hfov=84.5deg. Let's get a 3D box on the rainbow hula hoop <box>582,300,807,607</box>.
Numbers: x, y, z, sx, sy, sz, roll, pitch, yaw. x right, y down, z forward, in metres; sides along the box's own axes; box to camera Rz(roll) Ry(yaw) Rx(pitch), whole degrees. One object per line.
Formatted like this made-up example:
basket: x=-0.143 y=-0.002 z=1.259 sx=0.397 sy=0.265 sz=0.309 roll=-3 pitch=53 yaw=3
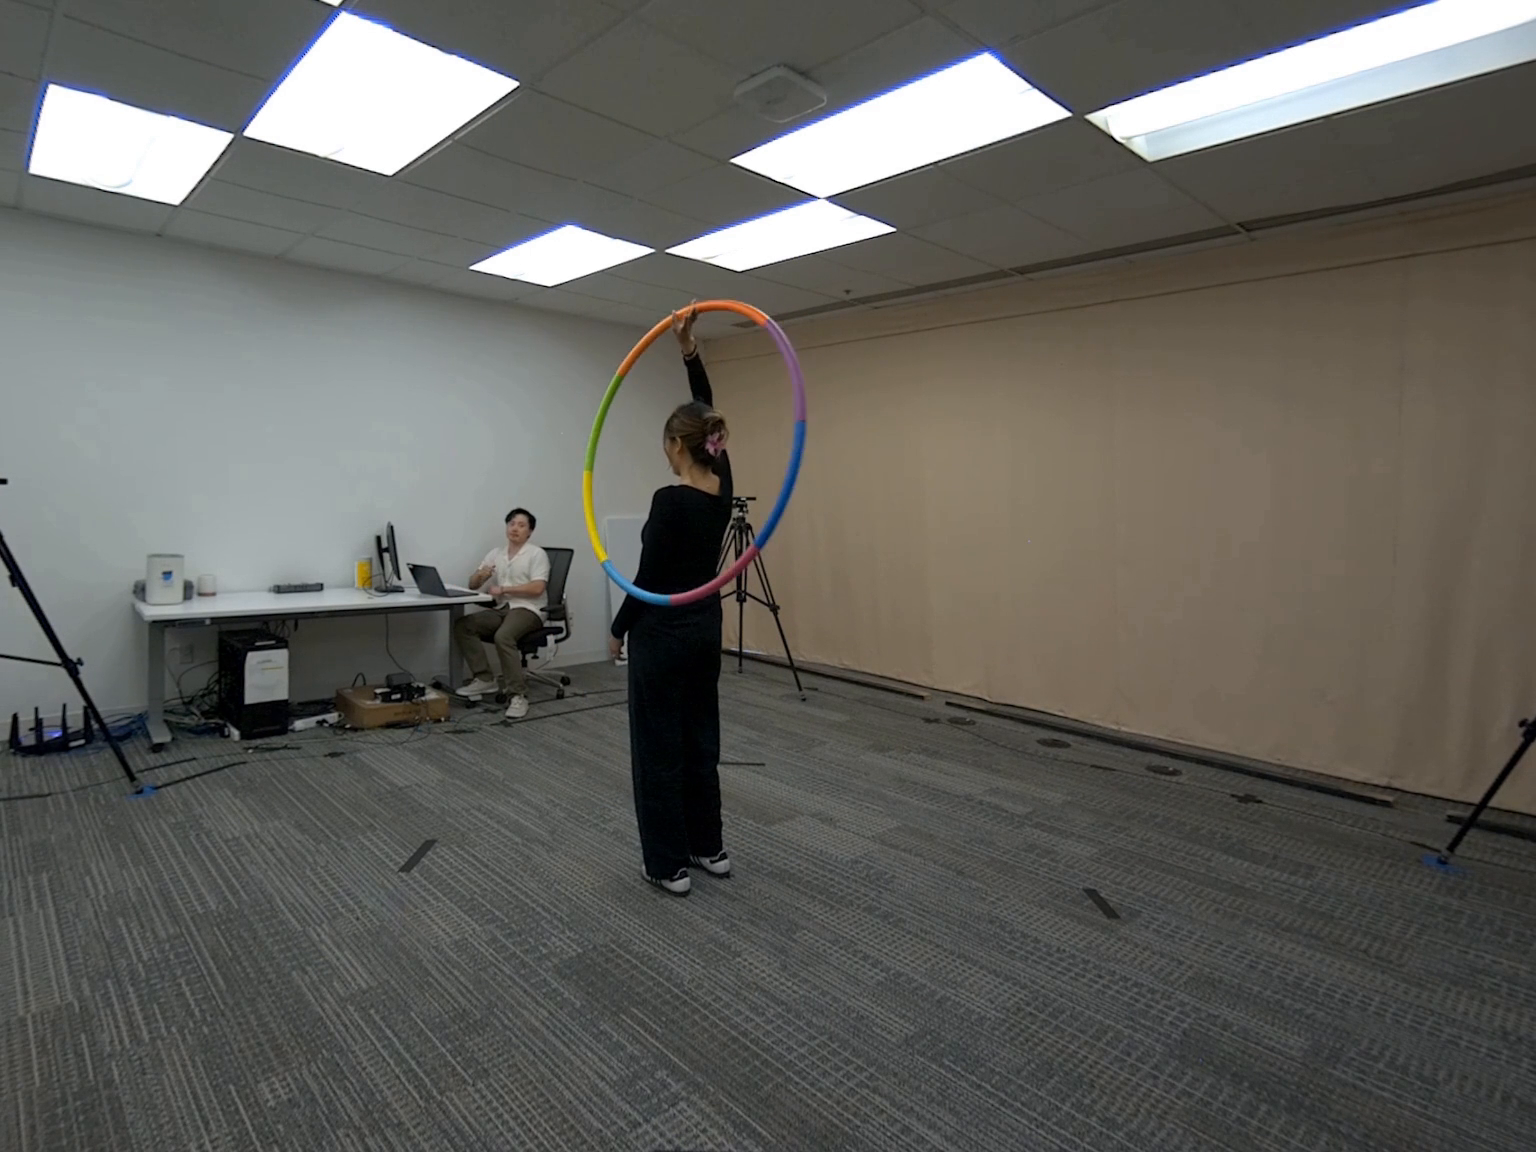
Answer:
rainbow hula hoop: x=-0.273 y=-0.397 z=2.691 sx=1.010 sy=0.988 sz=0.050 roll=5 pitch=-7 yaw=42
